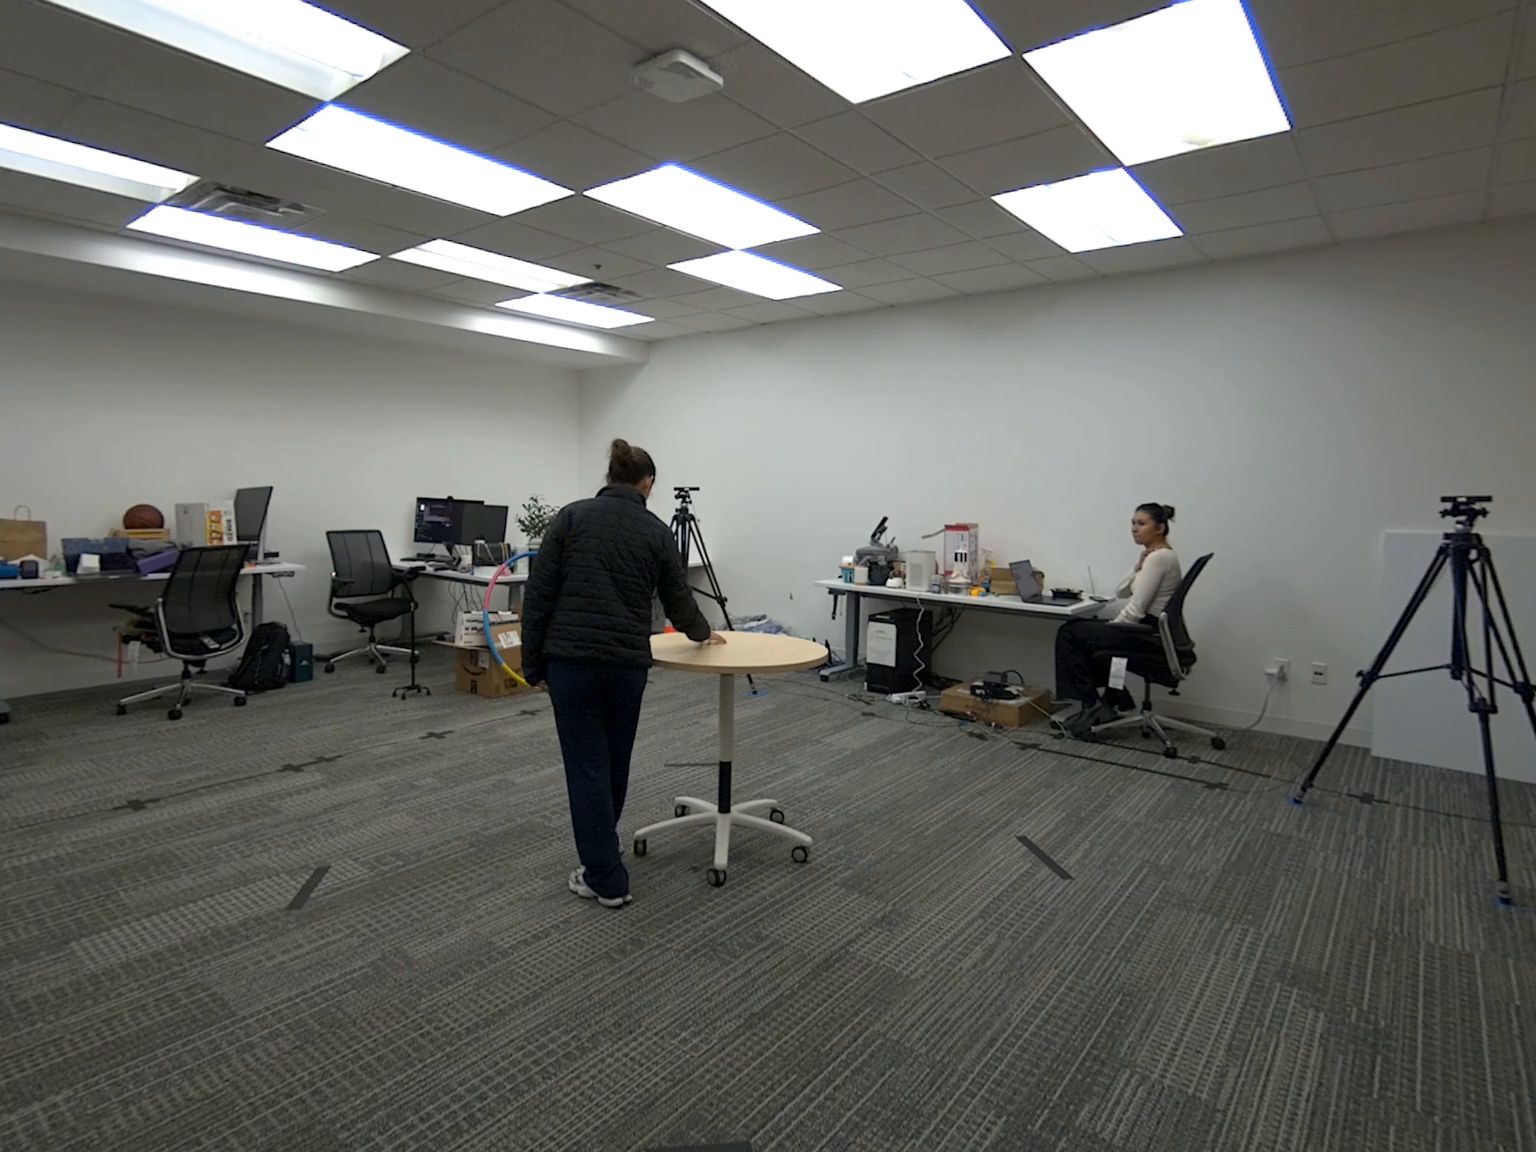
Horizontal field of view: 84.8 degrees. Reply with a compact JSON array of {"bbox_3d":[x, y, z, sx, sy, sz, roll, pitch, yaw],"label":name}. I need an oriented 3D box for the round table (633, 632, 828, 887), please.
[{"bbox_3d":[-0.136,0.657,3.287,0.784,0.784,0.789,1,4,-2],"label":"round table"}]
